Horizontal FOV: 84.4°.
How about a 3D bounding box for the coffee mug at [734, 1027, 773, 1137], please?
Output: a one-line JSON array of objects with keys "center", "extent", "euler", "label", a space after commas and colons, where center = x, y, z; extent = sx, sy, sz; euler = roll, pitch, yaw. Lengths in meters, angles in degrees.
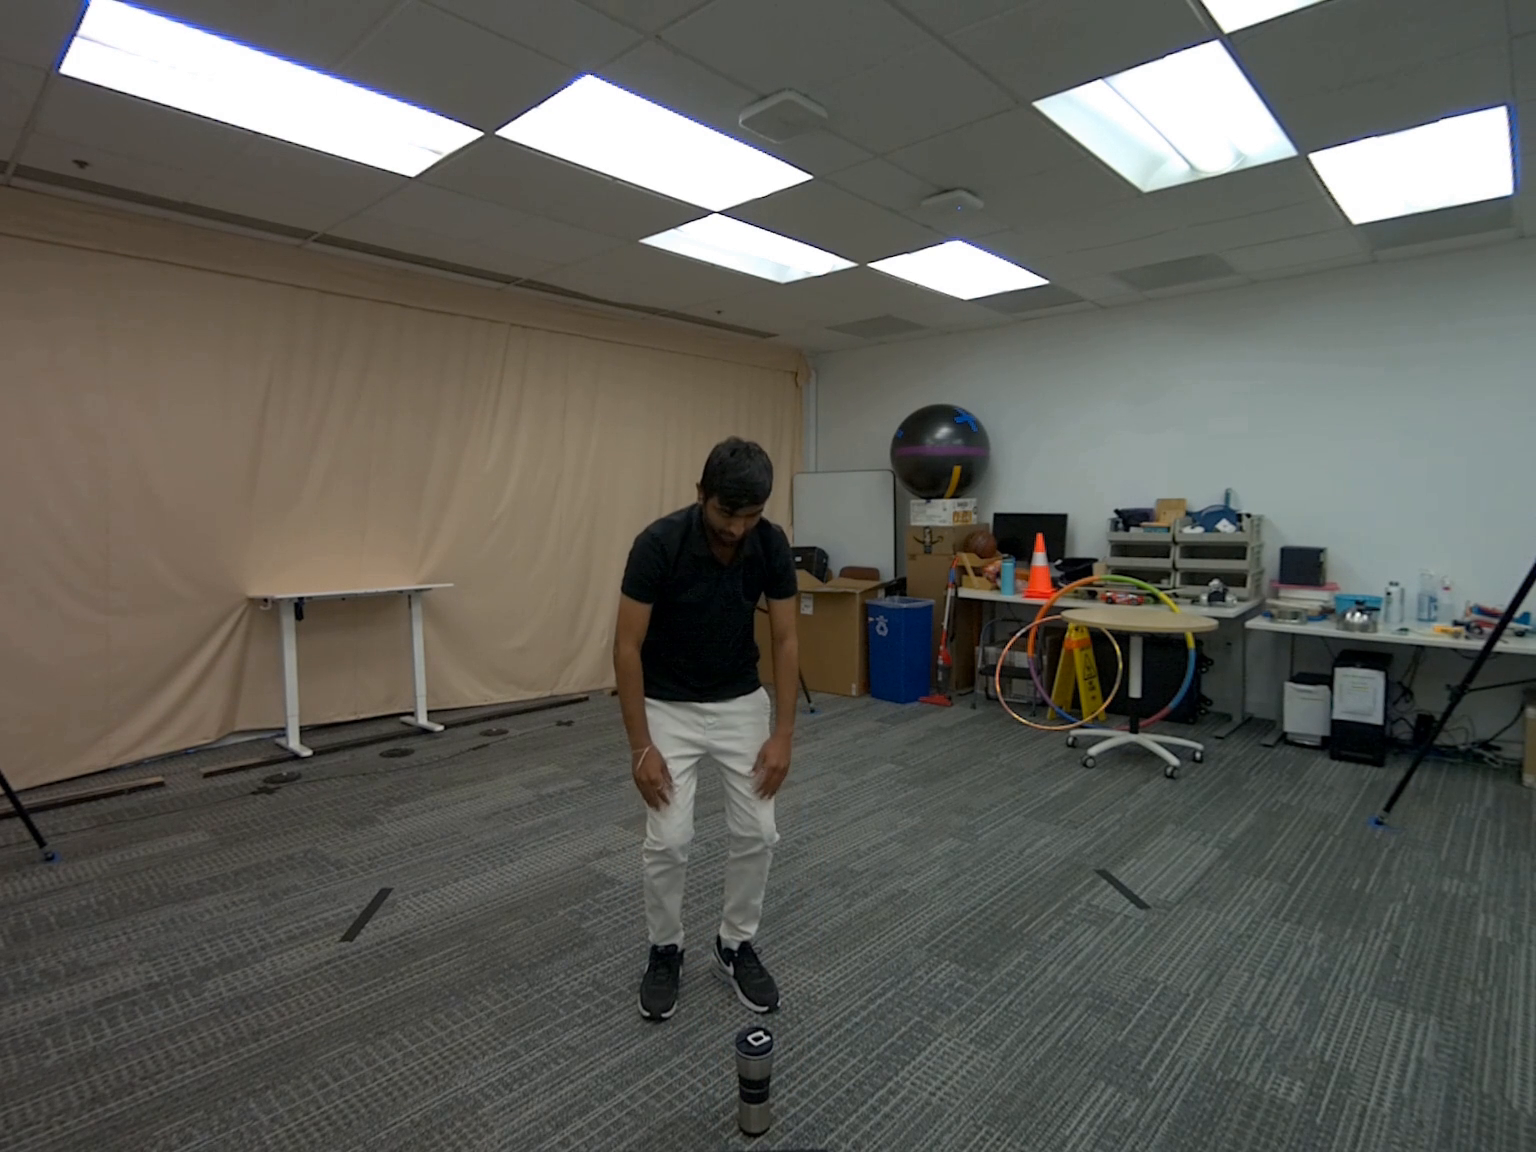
[{"center": [-0.015, 1.133, 1.900], "extent": [0.090, 0.202, 0.118], "euler": [-1, 5, 40], "label": "coffee mug"}]
